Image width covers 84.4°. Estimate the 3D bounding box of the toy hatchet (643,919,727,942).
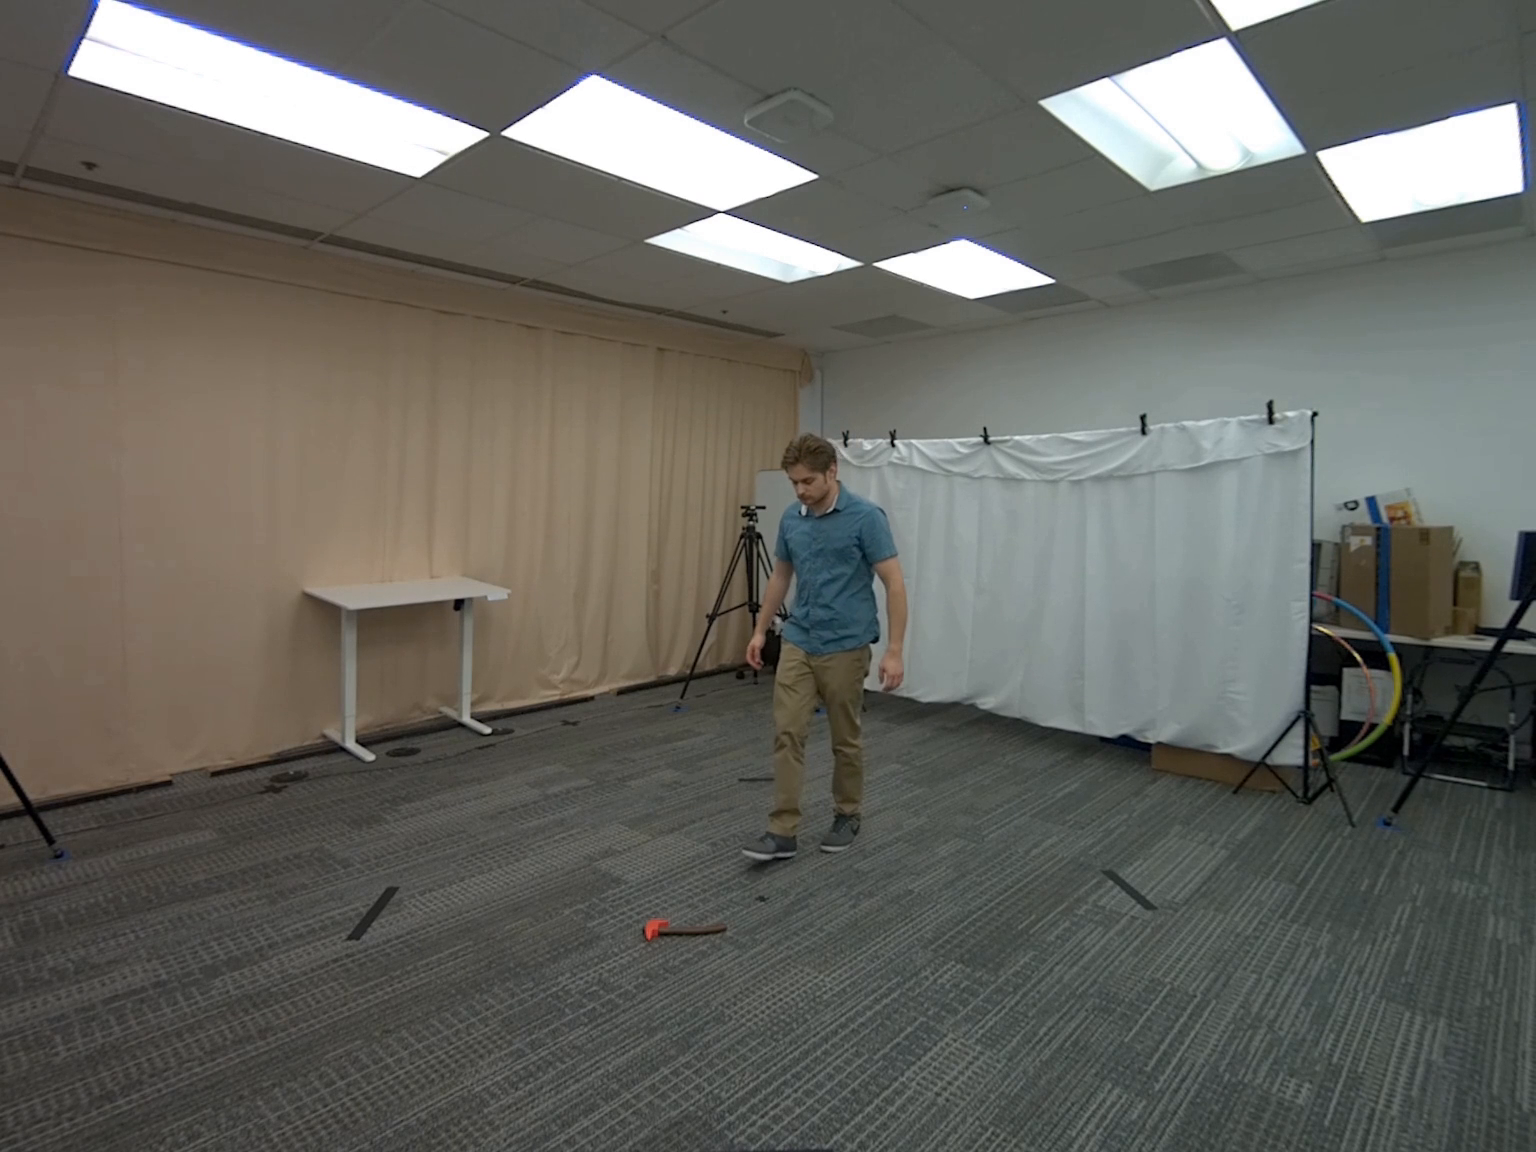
[{"bbox_3d":[-0.280,1.156,2.770,0.265,0.029,0.133,1,2,-18],"label":"toy hatchet"}]
